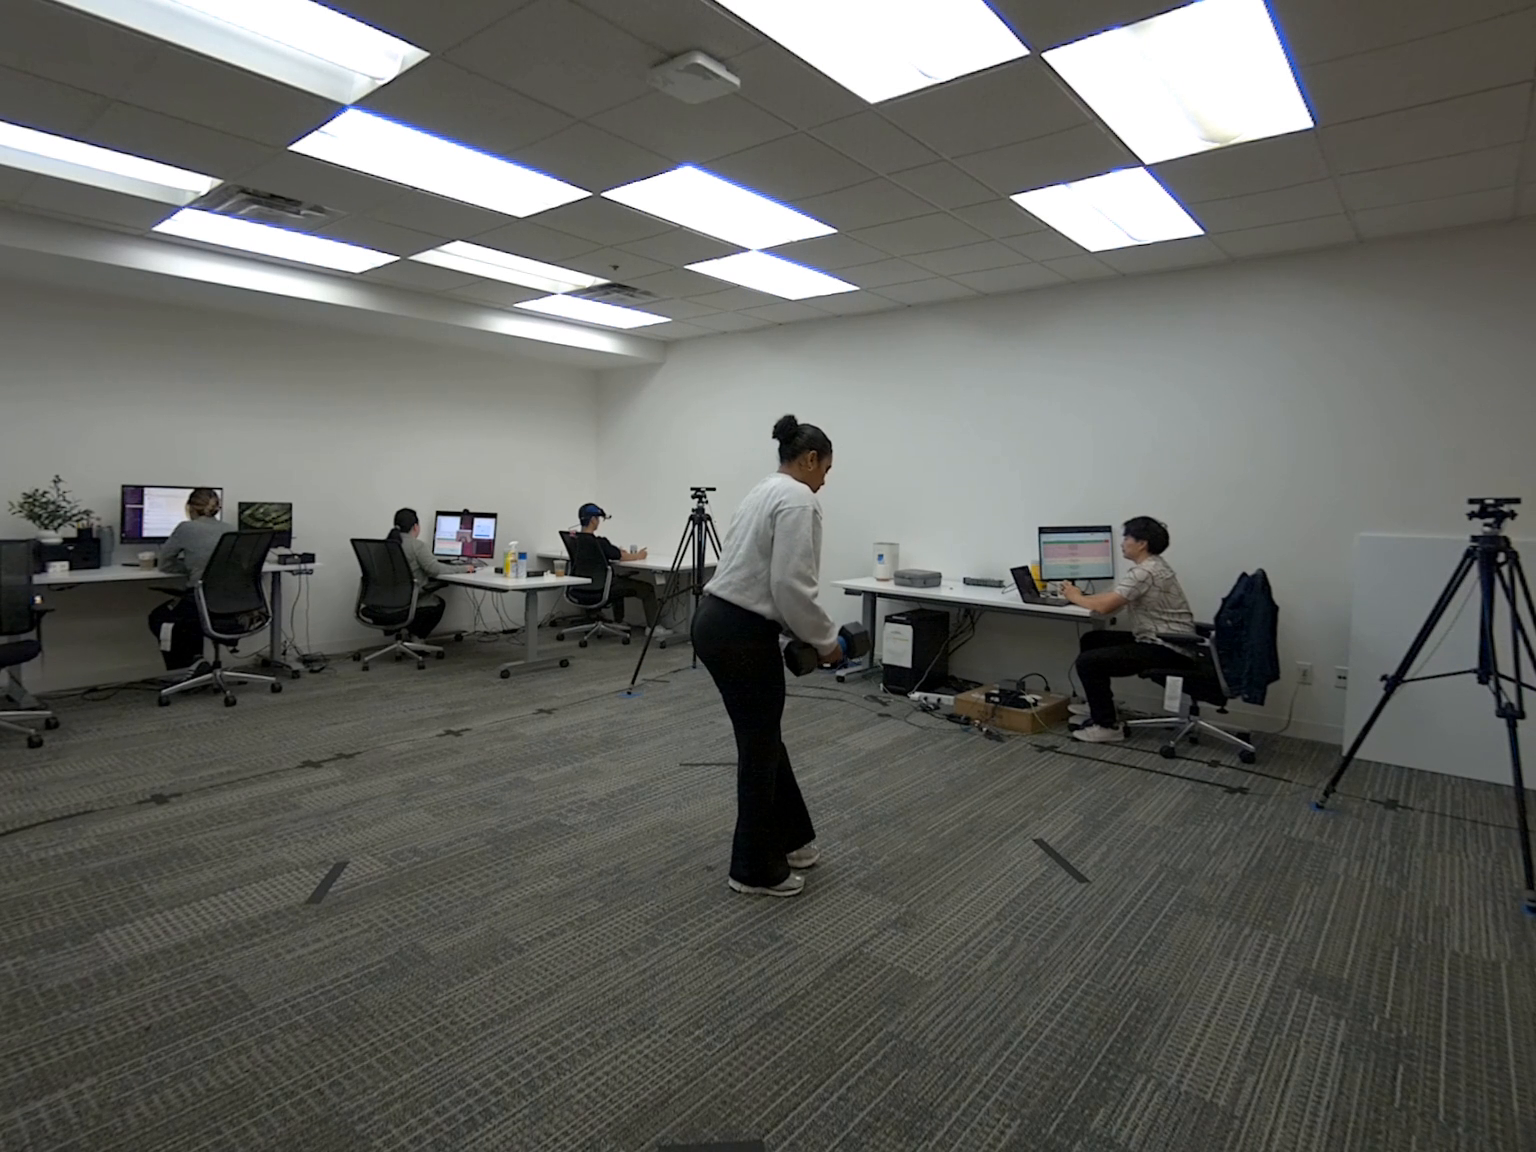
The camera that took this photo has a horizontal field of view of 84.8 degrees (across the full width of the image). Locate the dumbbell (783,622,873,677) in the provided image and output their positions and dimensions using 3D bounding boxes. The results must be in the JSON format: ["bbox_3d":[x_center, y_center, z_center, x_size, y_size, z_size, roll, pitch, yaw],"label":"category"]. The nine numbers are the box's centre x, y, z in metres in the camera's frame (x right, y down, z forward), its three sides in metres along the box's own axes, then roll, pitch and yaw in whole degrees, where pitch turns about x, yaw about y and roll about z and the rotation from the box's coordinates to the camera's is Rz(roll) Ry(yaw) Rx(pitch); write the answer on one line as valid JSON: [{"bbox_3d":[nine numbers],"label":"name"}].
[{"bbox_3d":[0.183,0.250,2.859,0.289,0.123,0.110,-11,-1,-20],"label":"dumbbell"}]
